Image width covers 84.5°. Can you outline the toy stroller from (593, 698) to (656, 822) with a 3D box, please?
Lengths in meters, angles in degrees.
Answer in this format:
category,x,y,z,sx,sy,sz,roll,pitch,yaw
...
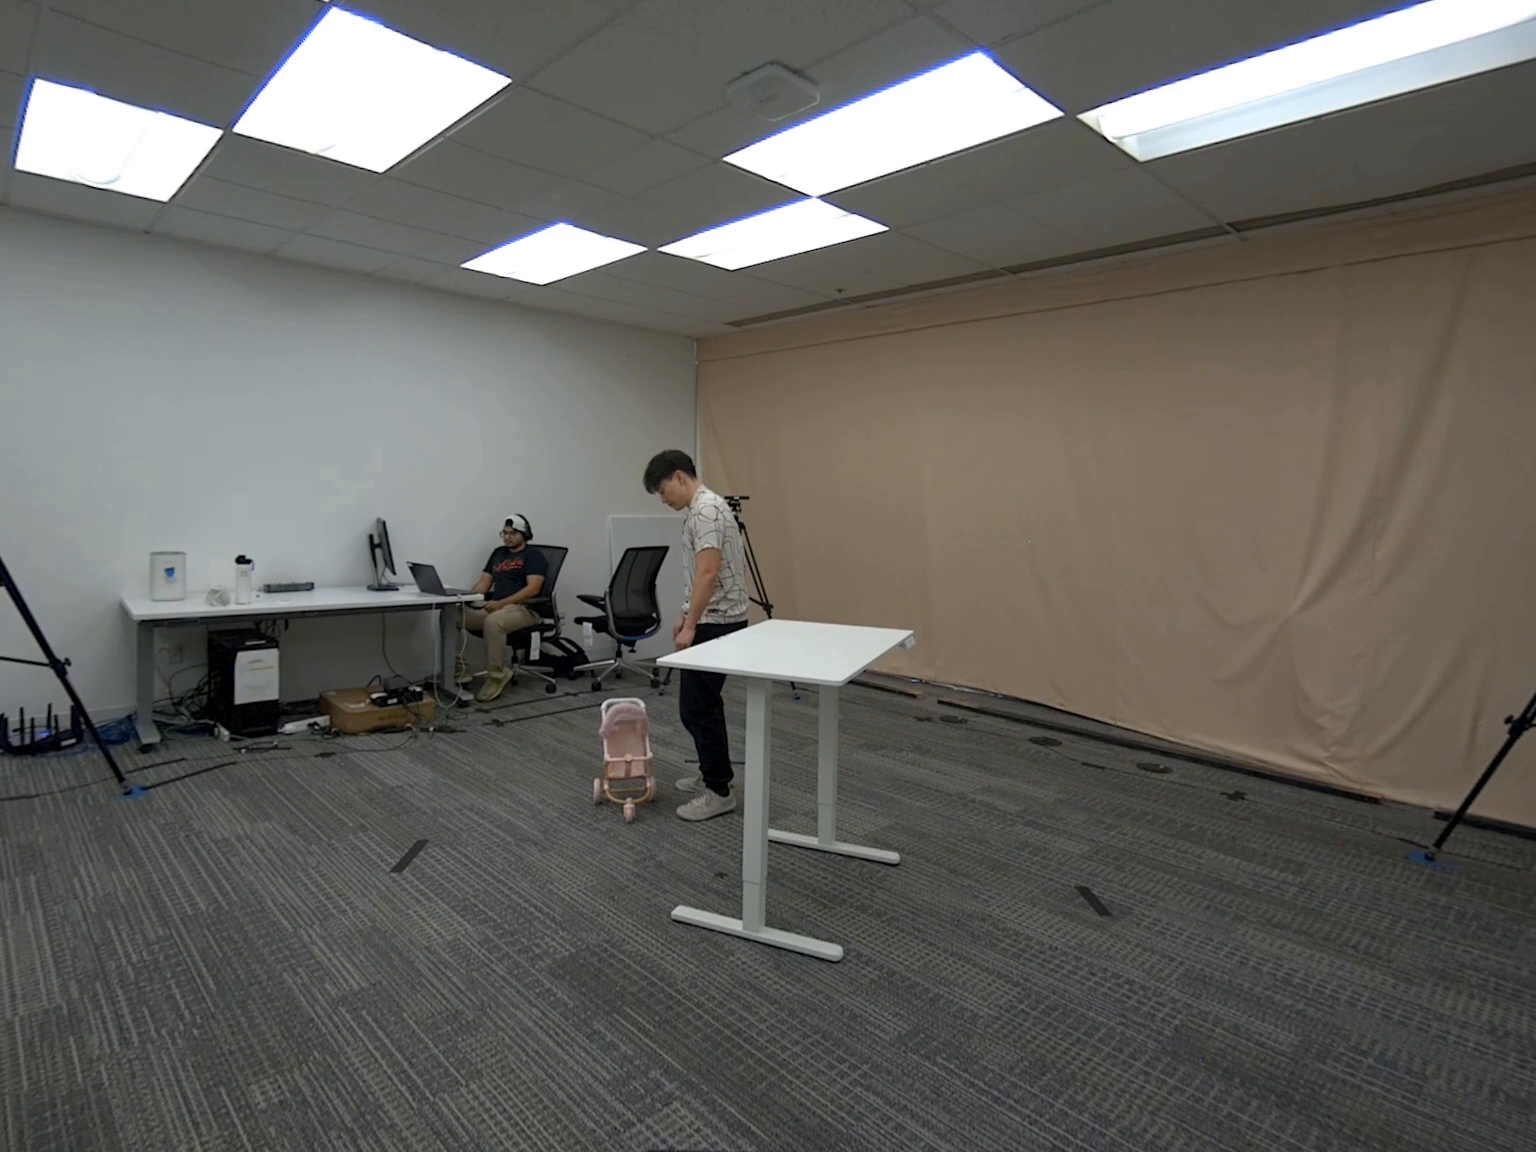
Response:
category,x,y,z,sx,sy,sz,roll,pitch,yaw
toy stroller,-0.649,0.809,3.759,0.279,0.540,0.341,0,-12,-10
